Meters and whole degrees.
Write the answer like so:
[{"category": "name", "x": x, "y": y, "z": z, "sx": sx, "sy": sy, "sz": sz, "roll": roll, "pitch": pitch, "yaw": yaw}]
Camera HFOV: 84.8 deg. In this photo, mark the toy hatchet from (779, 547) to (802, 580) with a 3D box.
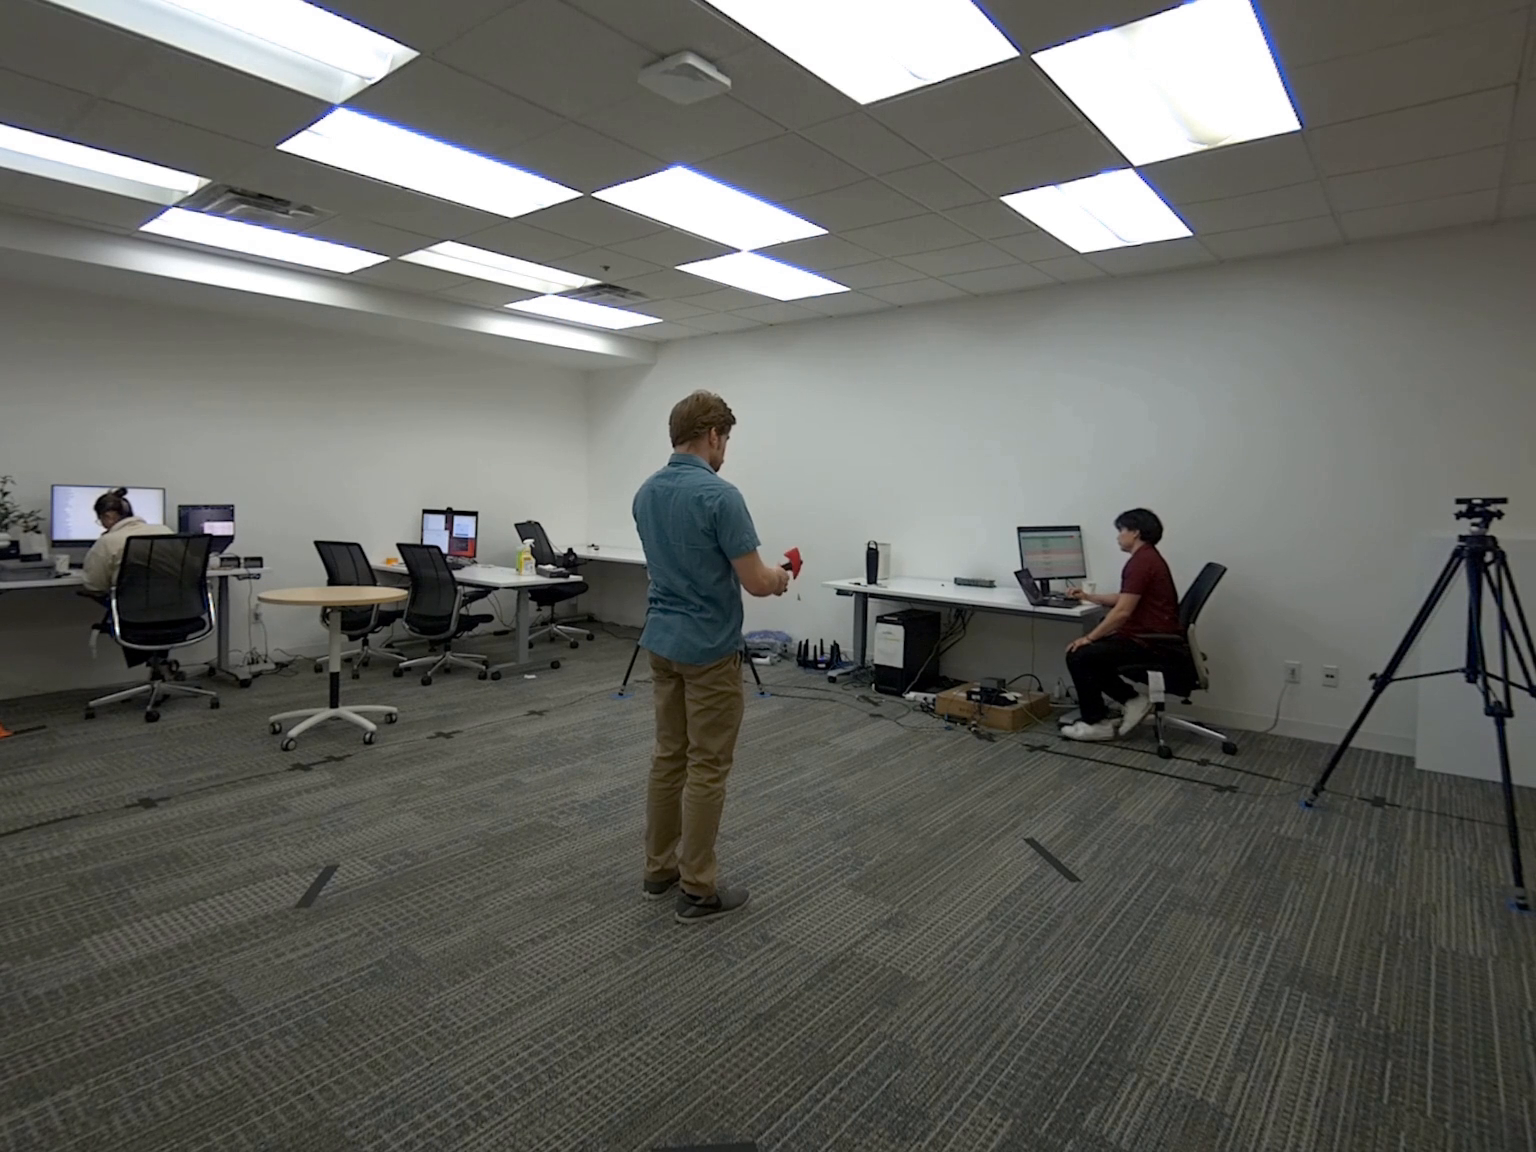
[{"category": "toy hatchet", "x": 0.011, "y": -0.051, "z": 3.118, "sx": 0.261, "sy": 0.129, "sz": 0.031, "roll": 2, "pitch": 25, "yaw": -37}]
